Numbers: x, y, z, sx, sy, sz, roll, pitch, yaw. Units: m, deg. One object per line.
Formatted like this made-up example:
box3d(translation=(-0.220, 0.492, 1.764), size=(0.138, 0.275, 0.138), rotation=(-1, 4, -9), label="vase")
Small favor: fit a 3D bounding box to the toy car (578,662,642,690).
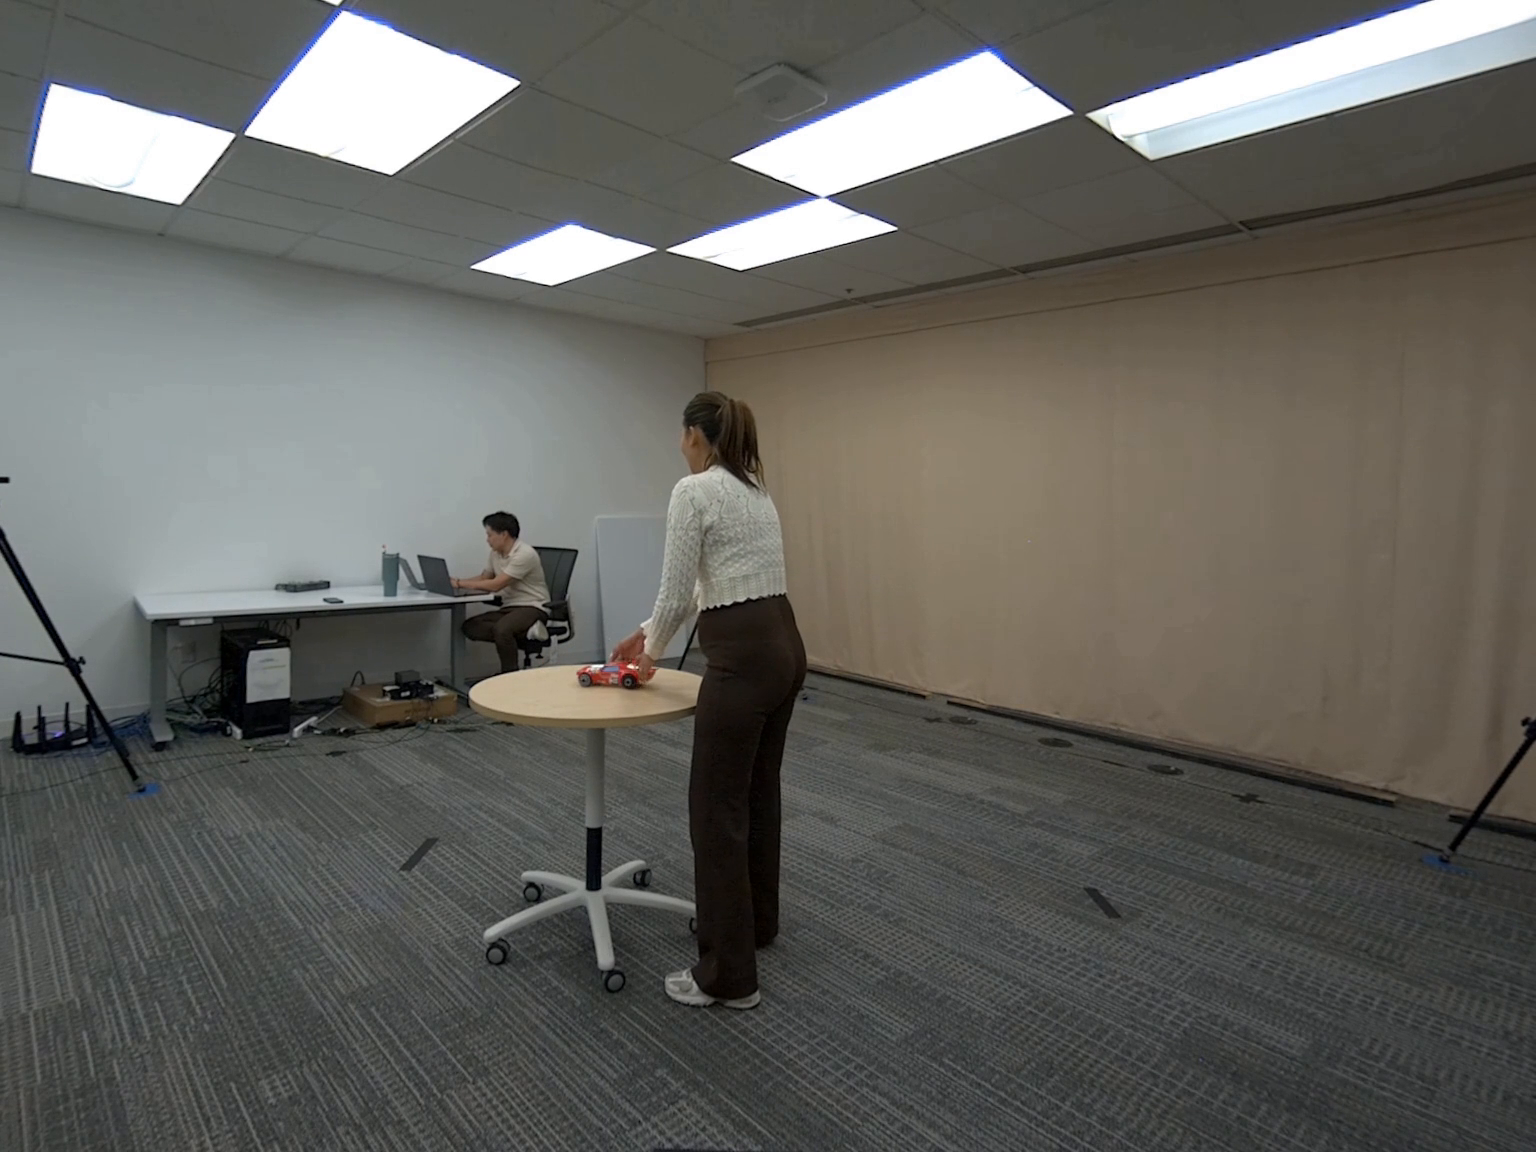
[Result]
box3d(translation=(-0.490, 0.320, 2.679), size=(0.256, 0.083, 0.130), rotation=(-9, 3, 9), label="toy car")
